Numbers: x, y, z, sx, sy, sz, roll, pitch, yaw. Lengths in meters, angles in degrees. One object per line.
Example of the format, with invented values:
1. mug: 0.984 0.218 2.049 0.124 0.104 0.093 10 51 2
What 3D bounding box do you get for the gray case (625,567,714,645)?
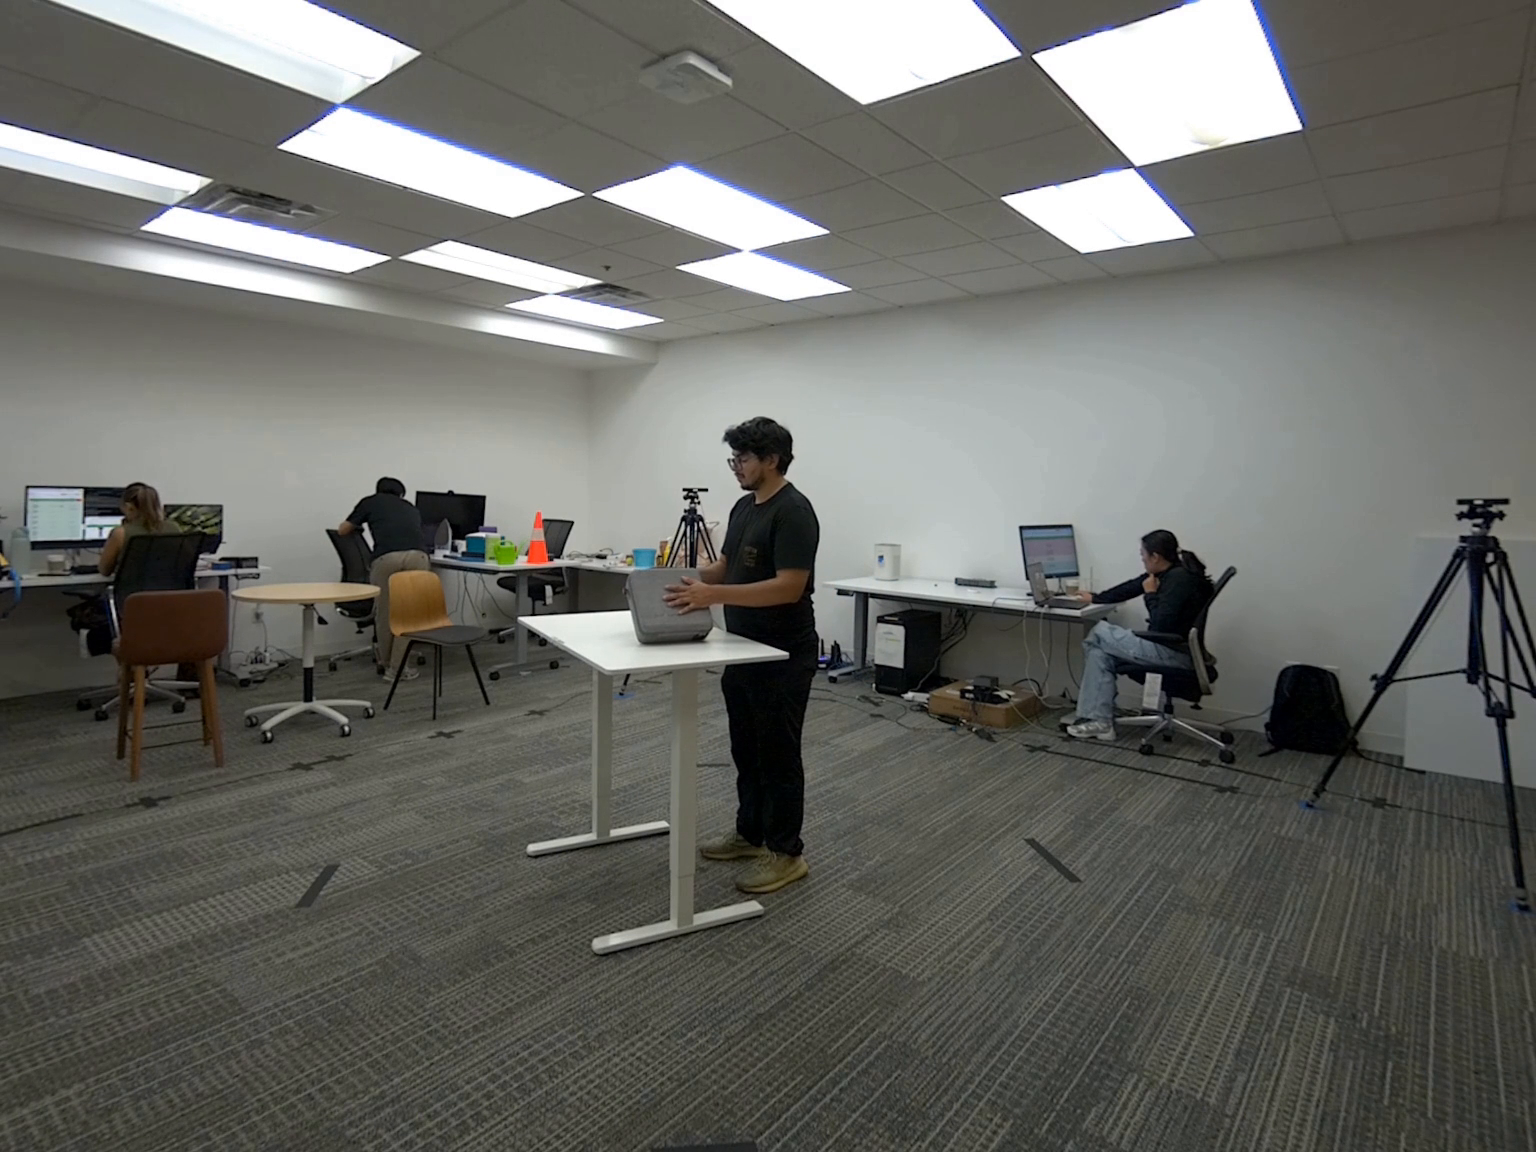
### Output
1. gray case: -0.340 0.097 2.836 0.251 0.269 0.103 -4 -31 -23
